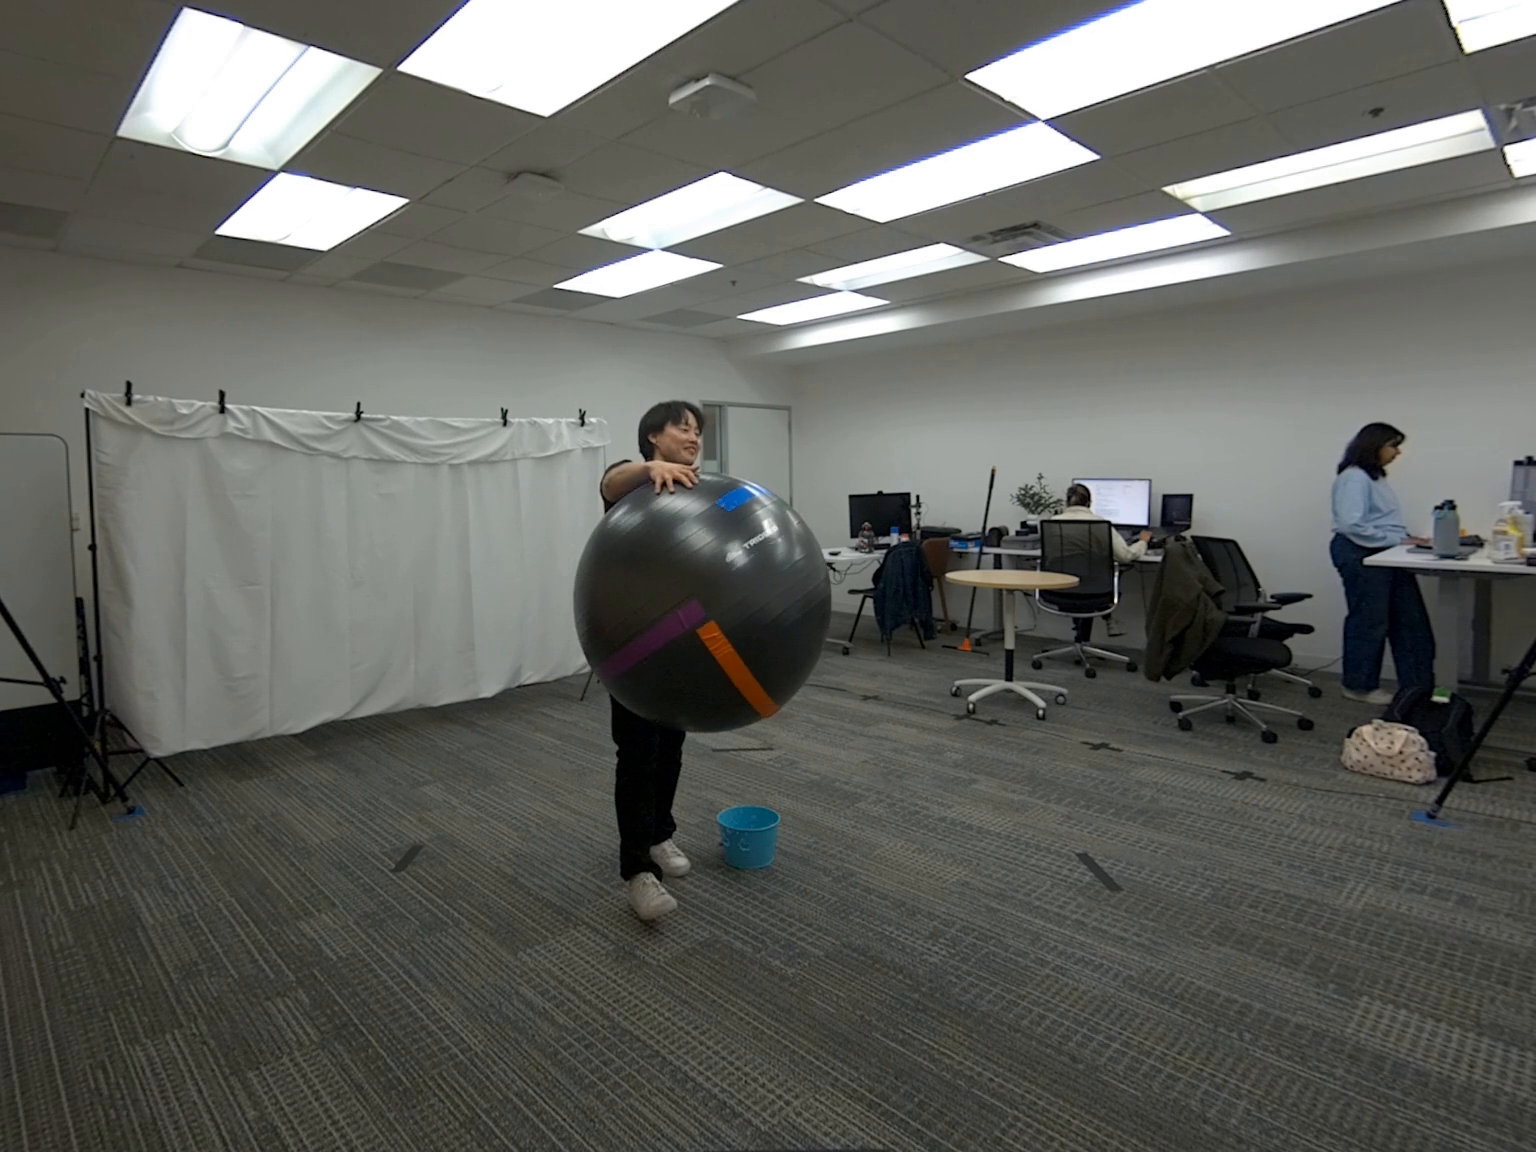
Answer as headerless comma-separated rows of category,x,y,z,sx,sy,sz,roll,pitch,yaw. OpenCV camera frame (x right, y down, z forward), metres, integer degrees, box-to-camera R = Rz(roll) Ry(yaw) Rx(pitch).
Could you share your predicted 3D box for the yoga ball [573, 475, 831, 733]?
yoga ball,-0.198,0.078,2.497,0.757,0.755,0.762,-1,5,-2
